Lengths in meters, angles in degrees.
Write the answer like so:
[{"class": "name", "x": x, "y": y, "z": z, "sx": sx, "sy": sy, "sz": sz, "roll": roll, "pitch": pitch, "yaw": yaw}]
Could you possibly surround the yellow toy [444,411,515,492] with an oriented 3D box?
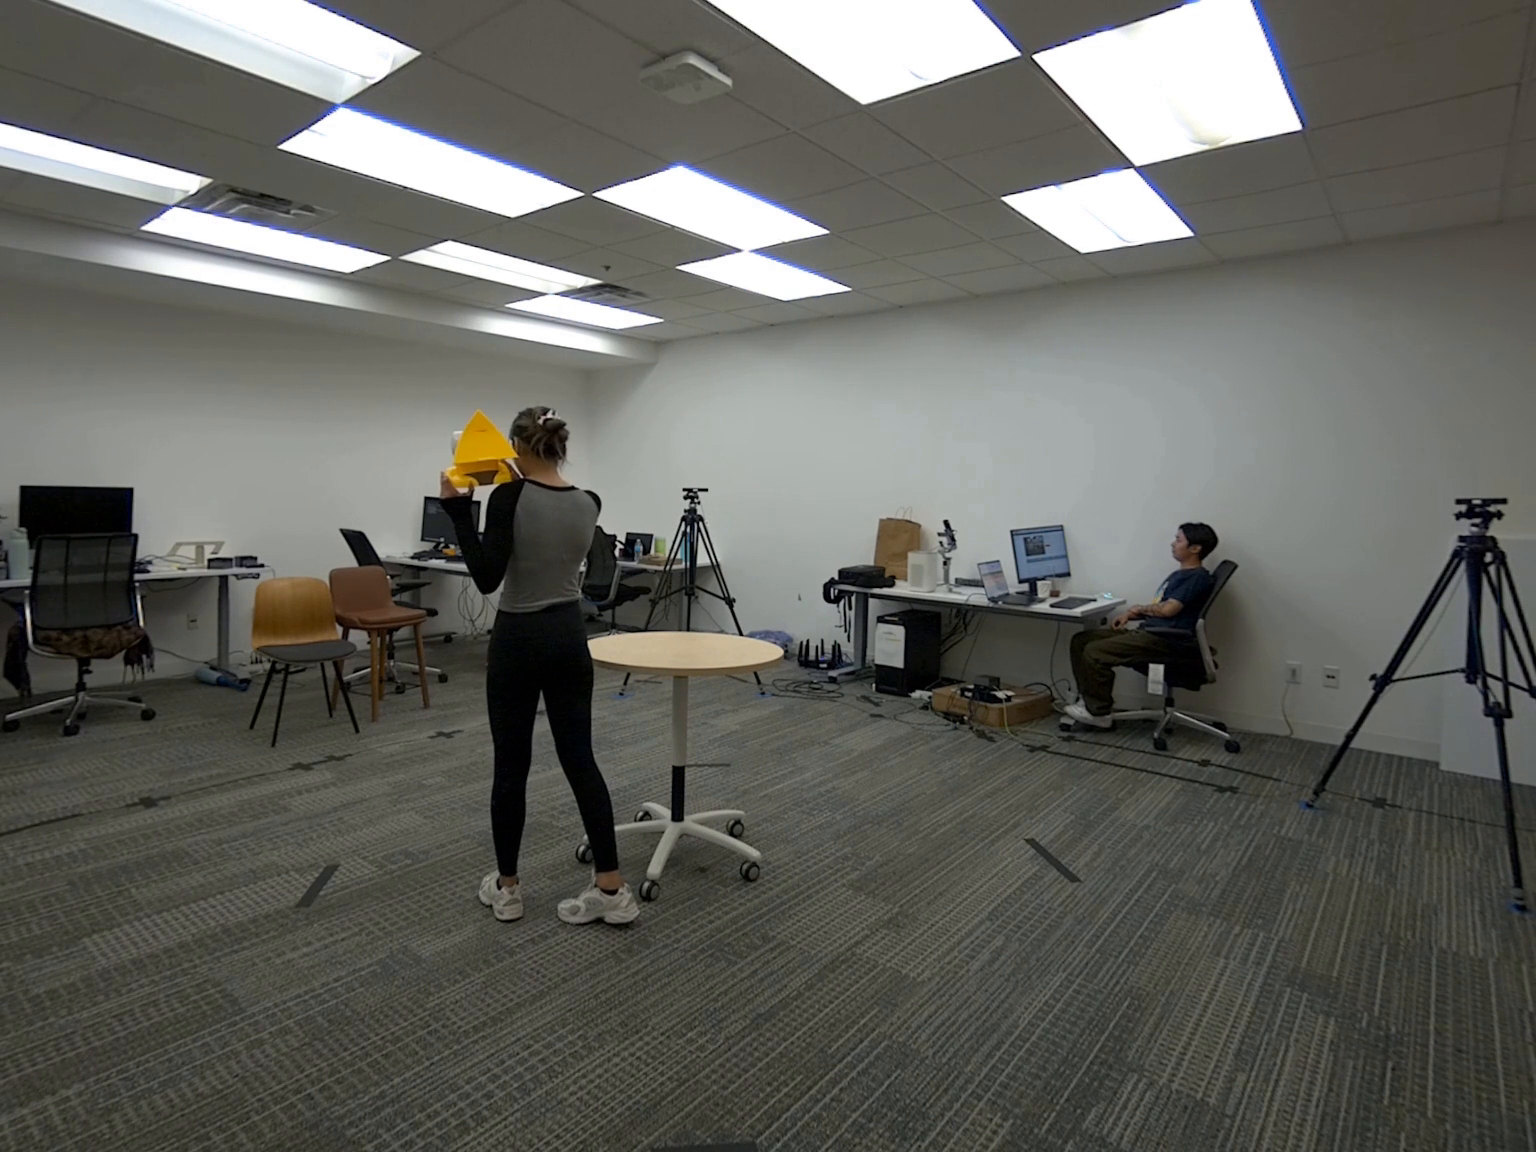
[{"class": "yellow toy", "x": -0.915, "y": -0.402, "z": 2.638, "sx": 0.200, "sy": 0.228, "sz": 0.200, "roll": -12, "pitch": 17, "yaw": -36}]
